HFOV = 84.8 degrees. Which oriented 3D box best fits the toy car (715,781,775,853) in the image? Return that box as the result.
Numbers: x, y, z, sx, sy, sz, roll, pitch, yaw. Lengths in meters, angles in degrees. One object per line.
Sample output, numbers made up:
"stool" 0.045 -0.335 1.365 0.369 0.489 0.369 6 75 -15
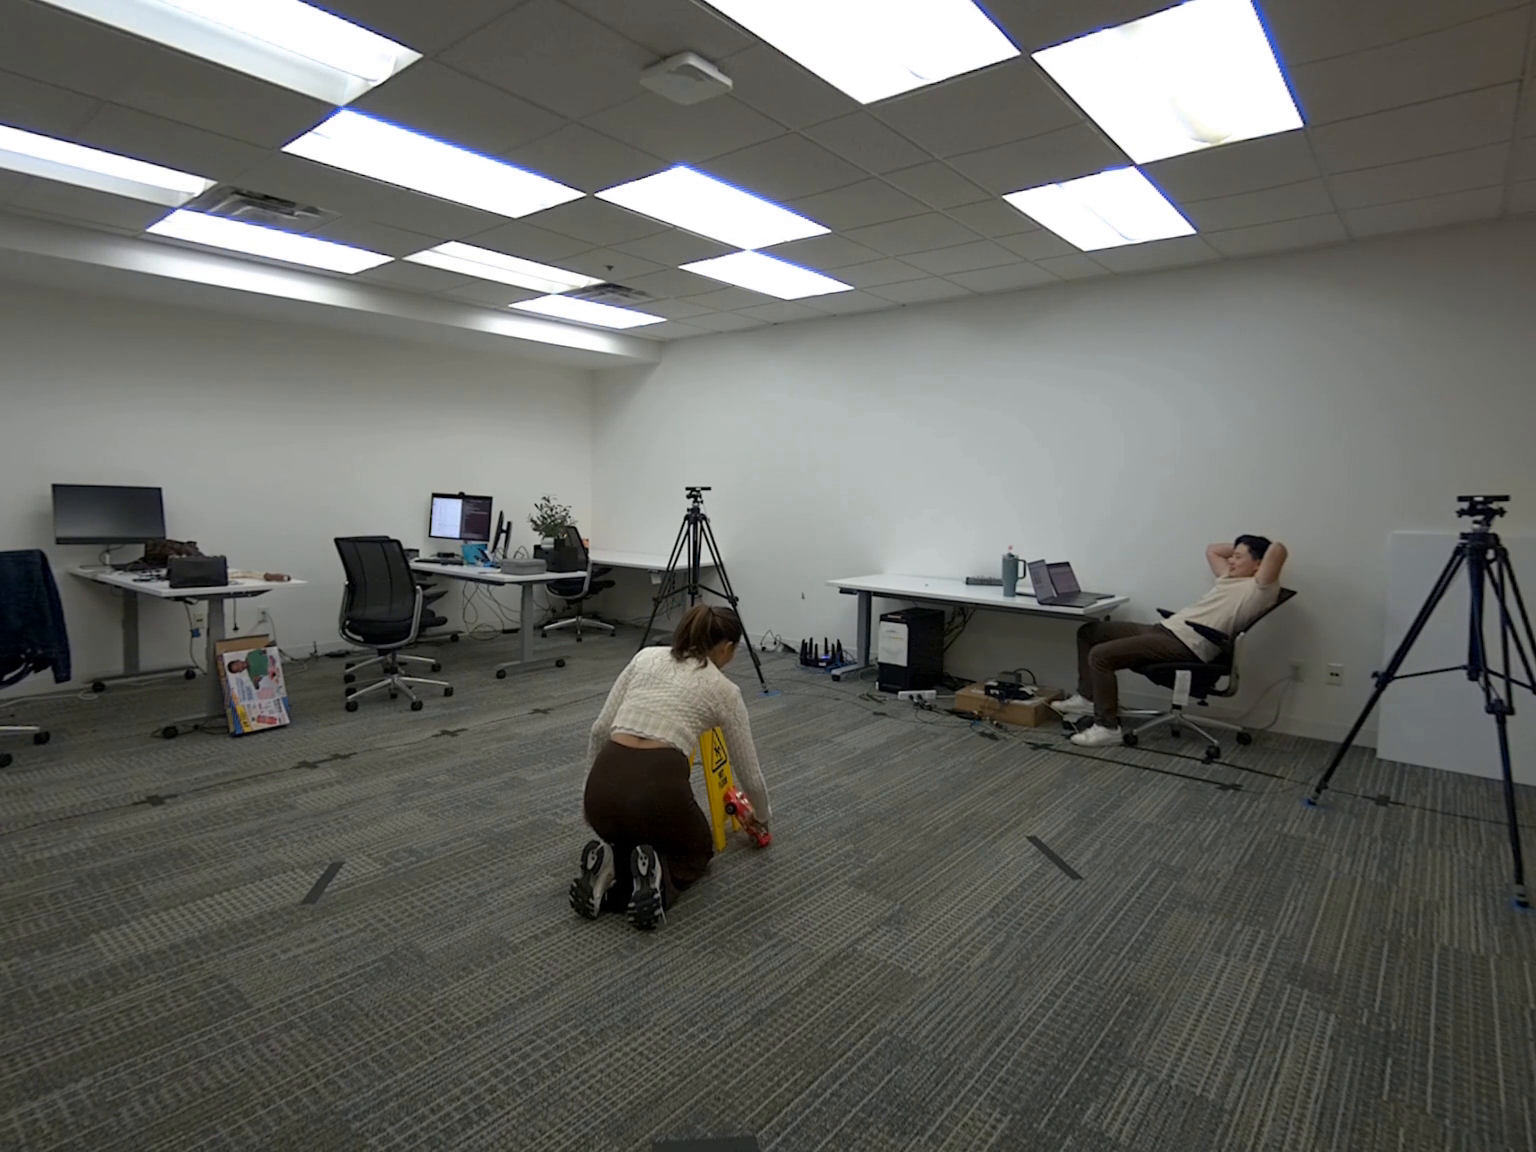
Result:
"toy car" -0.093 0.945 3.343 0.084 0.261 0.126 -35 -19 19
